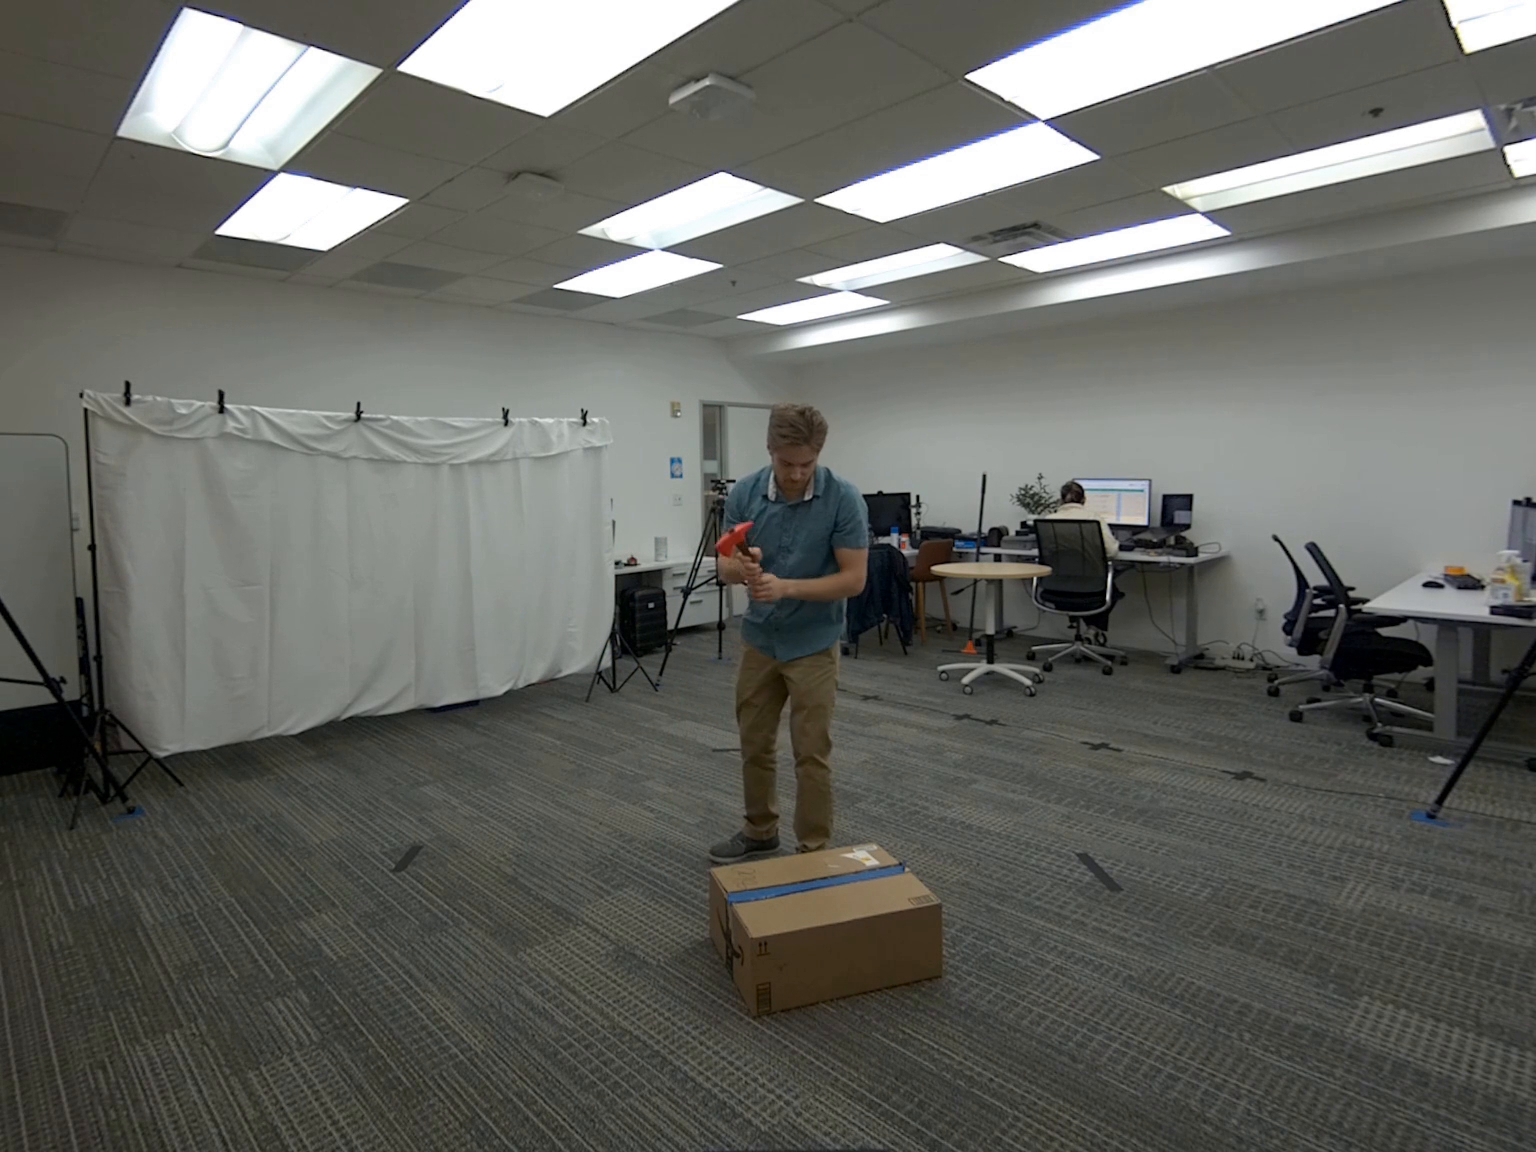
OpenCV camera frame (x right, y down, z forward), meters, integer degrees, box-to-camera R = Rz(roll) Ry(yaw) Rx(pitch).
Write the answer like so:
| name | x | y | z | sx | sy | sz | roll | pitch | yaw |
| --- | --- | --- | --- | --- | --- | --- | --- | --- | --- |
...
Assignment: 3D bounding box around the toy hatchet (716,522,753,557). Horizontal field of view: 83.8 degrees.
| name | x | y | z | sx | sy | sz | roll | pitch | yaw |
| --- | --- | --- | --- | --- | --- | --- | --- | --- | --- |
| toy hatchet | -0.085 | -0.043 | 2.629 | 0.130 | 0.262 | 0.031 | -22 | 37 | -20 |
